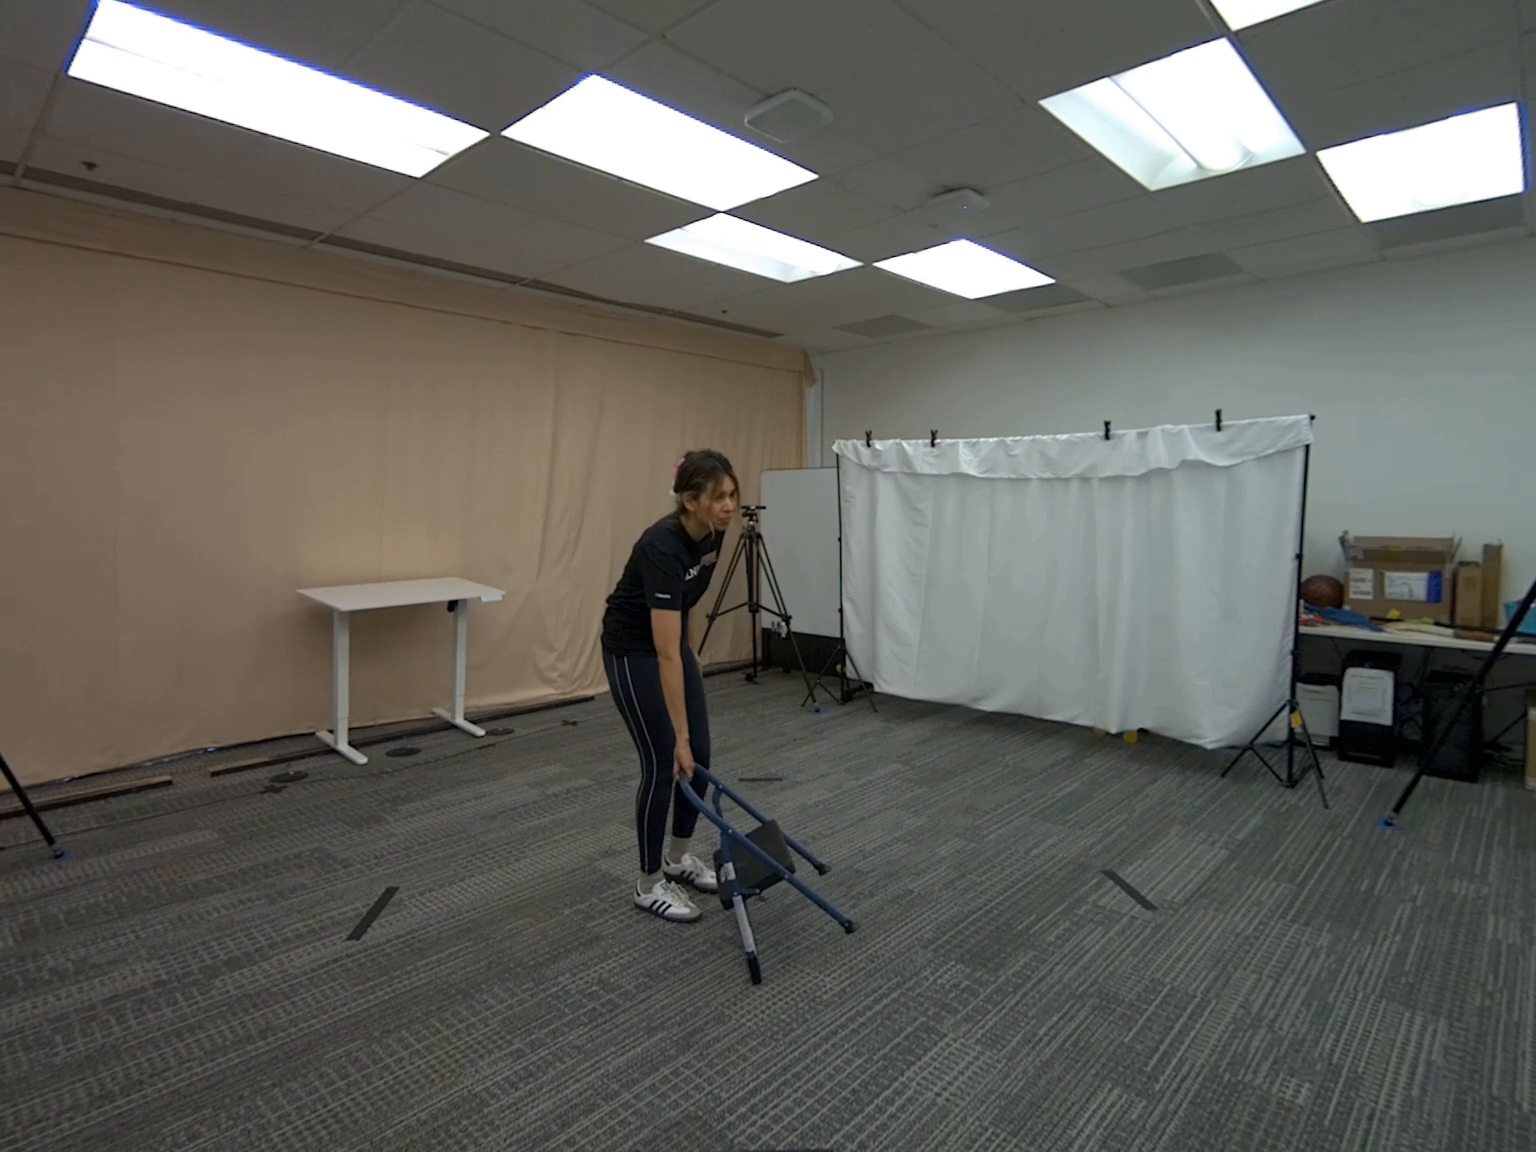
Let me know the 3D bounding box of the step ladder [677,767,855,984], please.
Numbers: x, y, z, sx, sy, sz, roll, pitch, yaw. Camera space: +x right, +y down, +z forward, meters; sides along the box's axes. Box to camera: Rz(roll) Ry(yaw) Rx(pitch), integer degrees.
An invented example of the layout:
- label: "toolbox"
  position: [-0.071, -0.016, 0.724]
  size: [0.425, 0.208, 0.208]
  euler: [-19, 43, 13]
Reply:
- label: "step ladder"
  position: [-0.057, 0.837, 2.626]
  size: [0.348, 0.603, 0.434]
  euler: [-29, 5, -4]
